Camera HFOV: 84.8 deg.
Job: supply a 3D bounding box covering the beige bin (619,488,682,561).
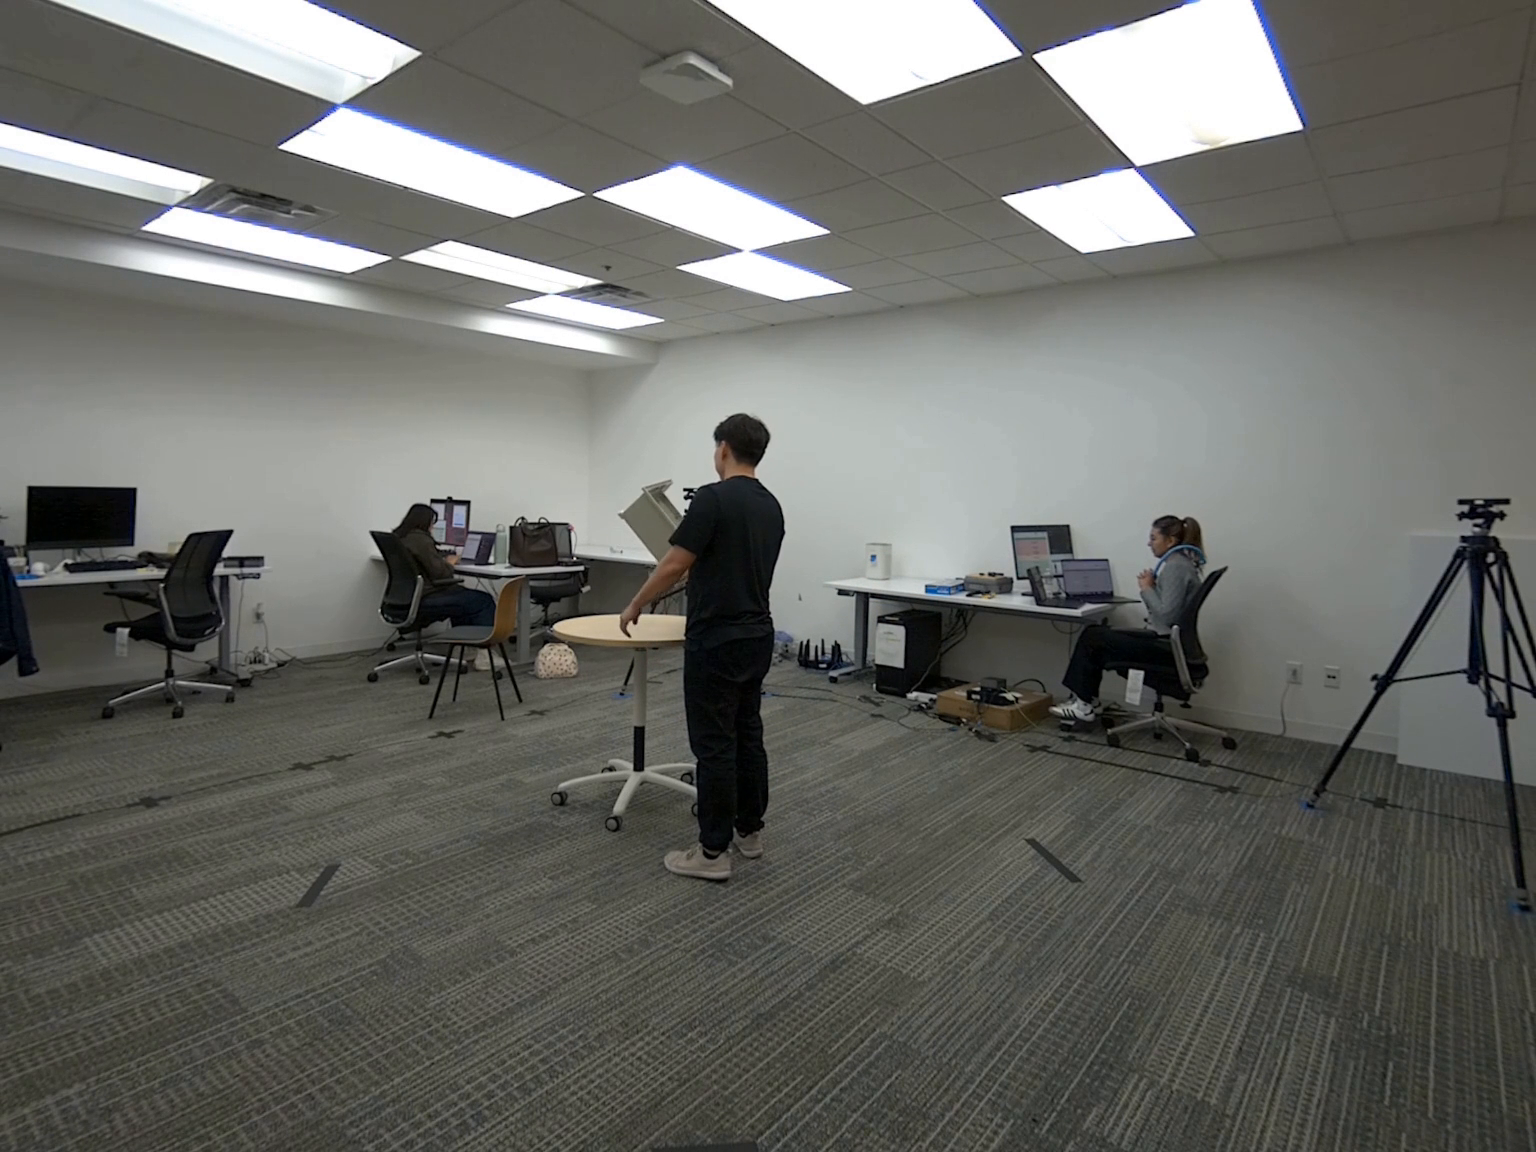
[{"bbox_3d":[-0.427,-0.208,3.799,0.189,0.425,0.374,-41,-3,21],"label":"beige bin"}]
